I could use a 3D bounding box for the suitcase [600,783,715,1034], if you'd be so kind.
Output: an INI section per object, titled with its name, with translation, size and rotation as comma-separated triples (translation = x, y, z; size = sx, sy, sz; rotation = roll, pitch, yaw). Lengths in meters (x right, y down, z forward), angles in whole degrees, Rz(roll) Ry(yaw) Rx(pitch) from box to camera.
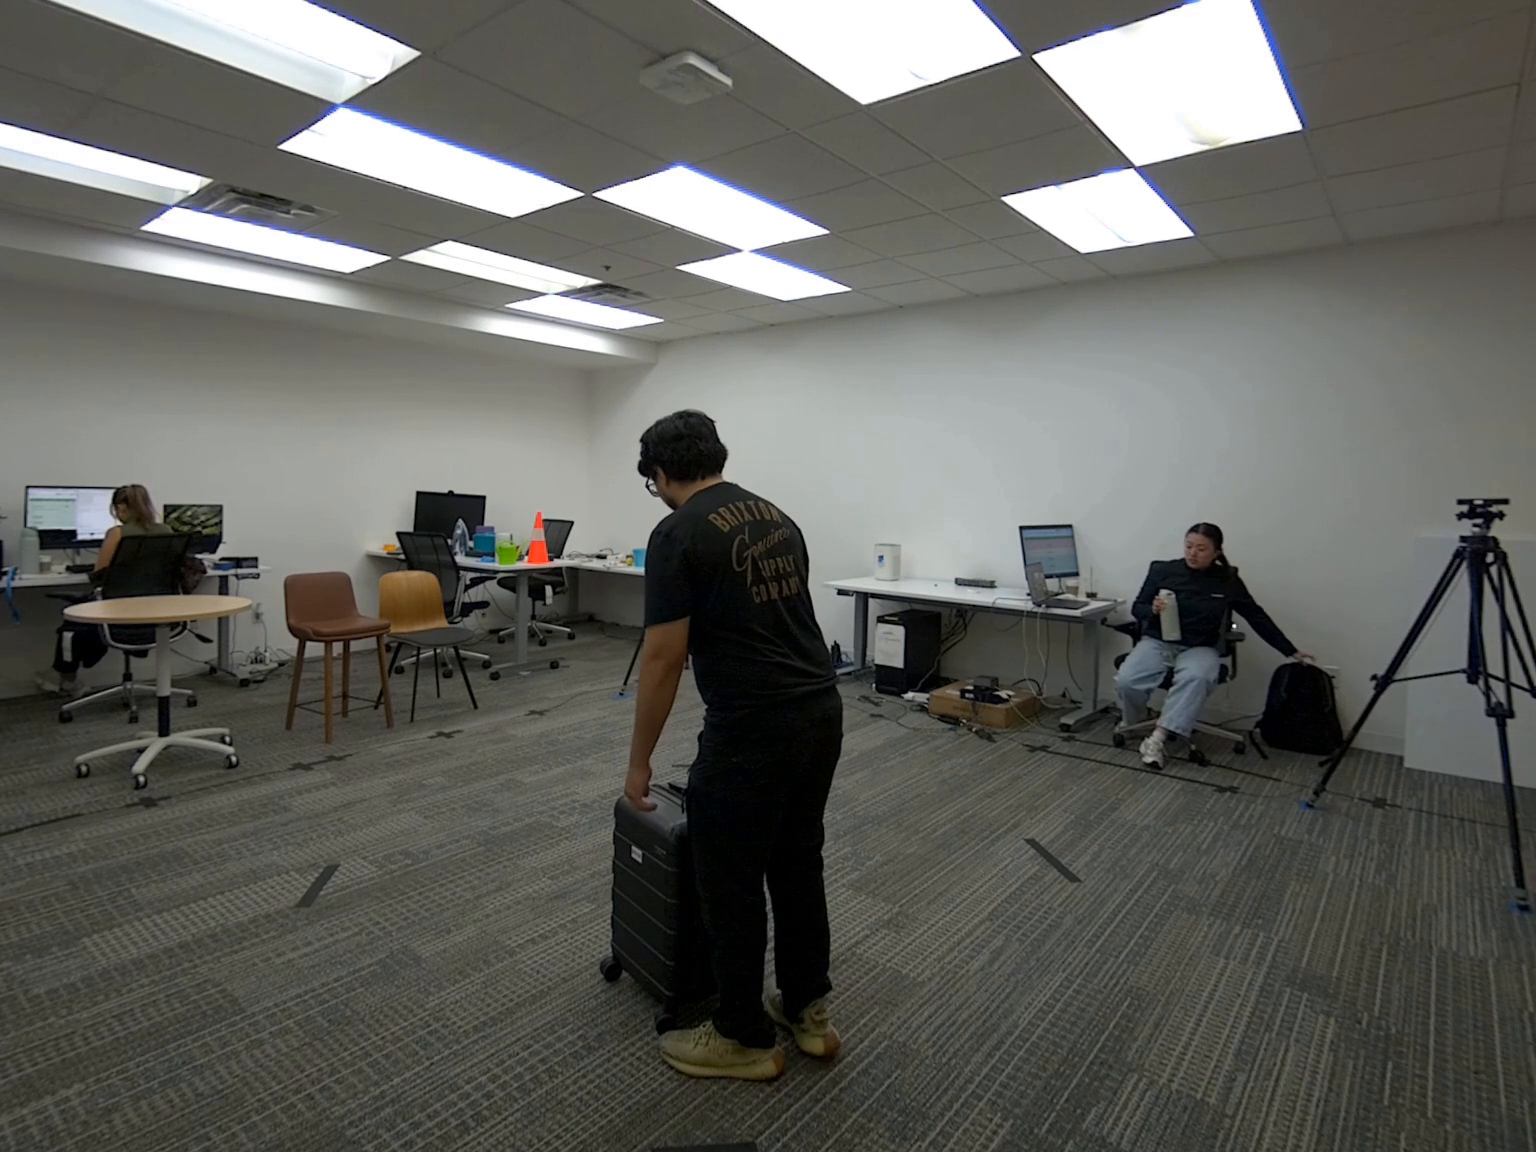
[suitcase]
translation = -0.259, 0.867, 2.338
size = 0.241, 0.547, 0.388
rotation = -1, 5, -39
